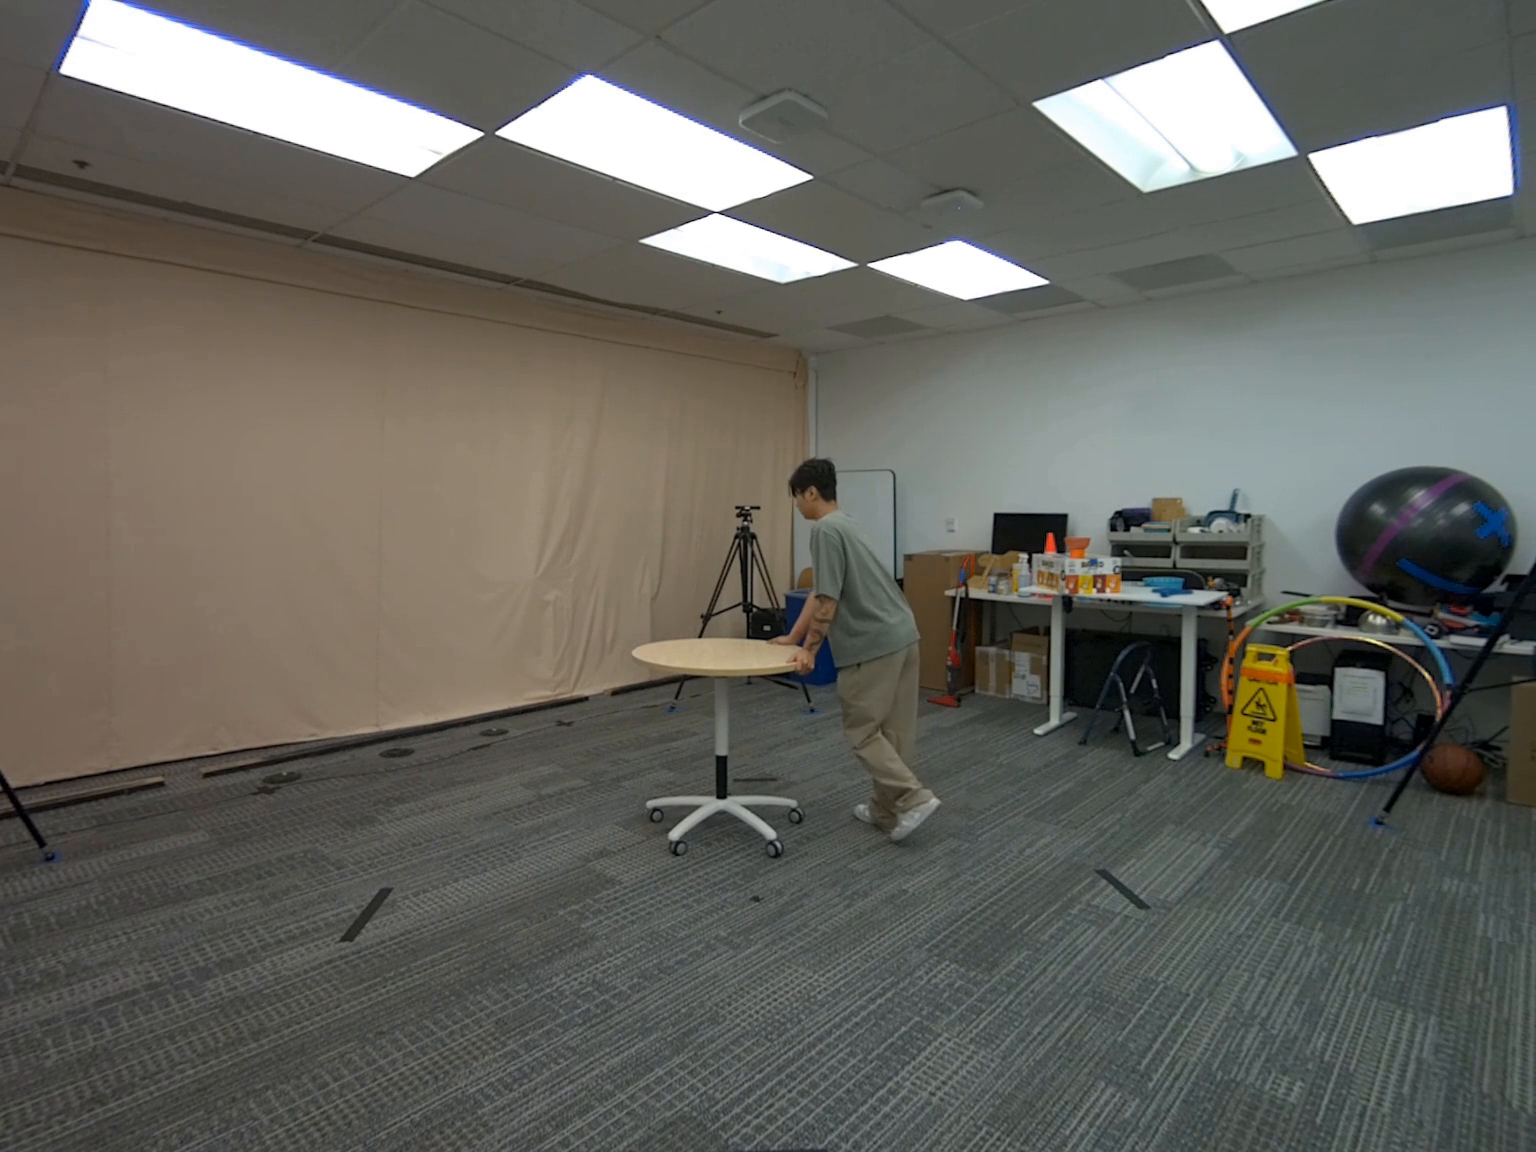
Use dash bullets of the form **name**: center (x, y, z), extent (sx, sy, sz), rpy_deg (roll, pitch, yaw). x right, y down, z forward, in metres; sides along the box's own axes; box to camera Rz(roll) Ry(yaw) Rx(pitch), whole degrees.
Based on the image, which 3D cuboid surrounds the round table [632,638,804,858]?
- **round table**: center (-0.207, 0.710, 3.618), extent (0.784, 0.785, 0.787), rpy_deg (1, 3, -2)
